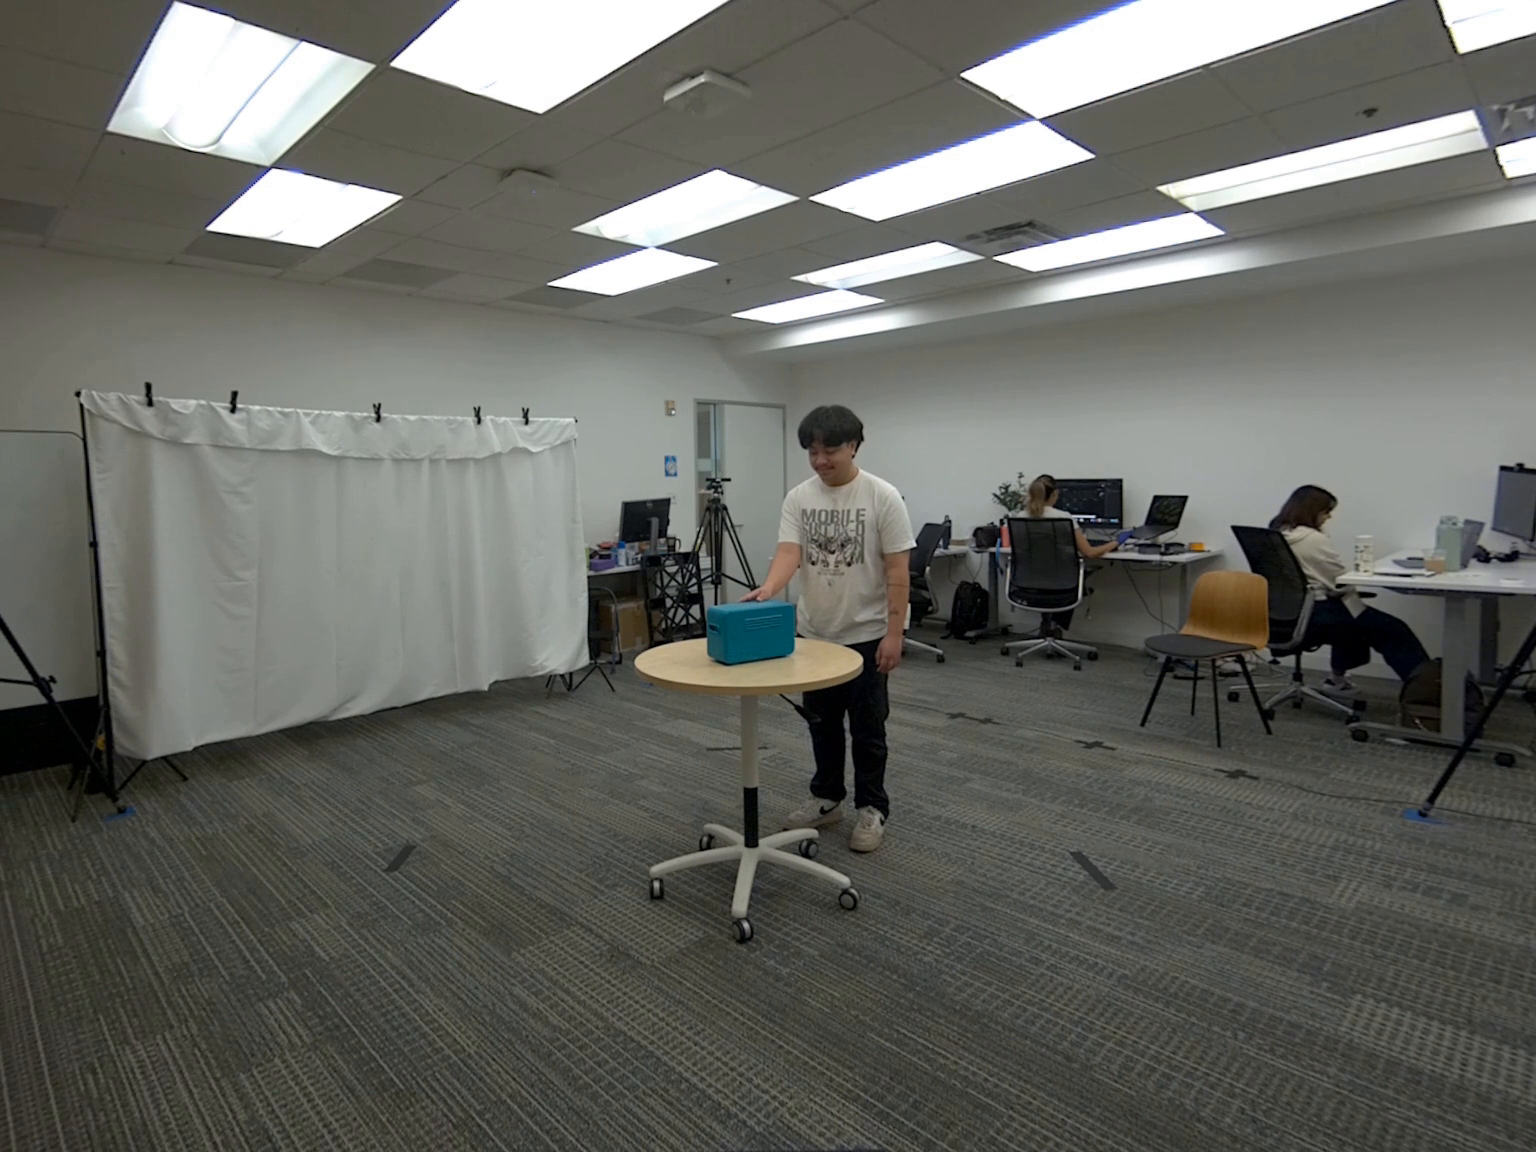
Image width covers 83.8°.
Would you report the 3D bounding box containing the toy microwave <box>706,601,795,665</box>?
[{"bbox_3d":[-0.058,0.185,2.875,0.279,0.183,0.157,-5,7,-31],"label":"toy microwave"}]
